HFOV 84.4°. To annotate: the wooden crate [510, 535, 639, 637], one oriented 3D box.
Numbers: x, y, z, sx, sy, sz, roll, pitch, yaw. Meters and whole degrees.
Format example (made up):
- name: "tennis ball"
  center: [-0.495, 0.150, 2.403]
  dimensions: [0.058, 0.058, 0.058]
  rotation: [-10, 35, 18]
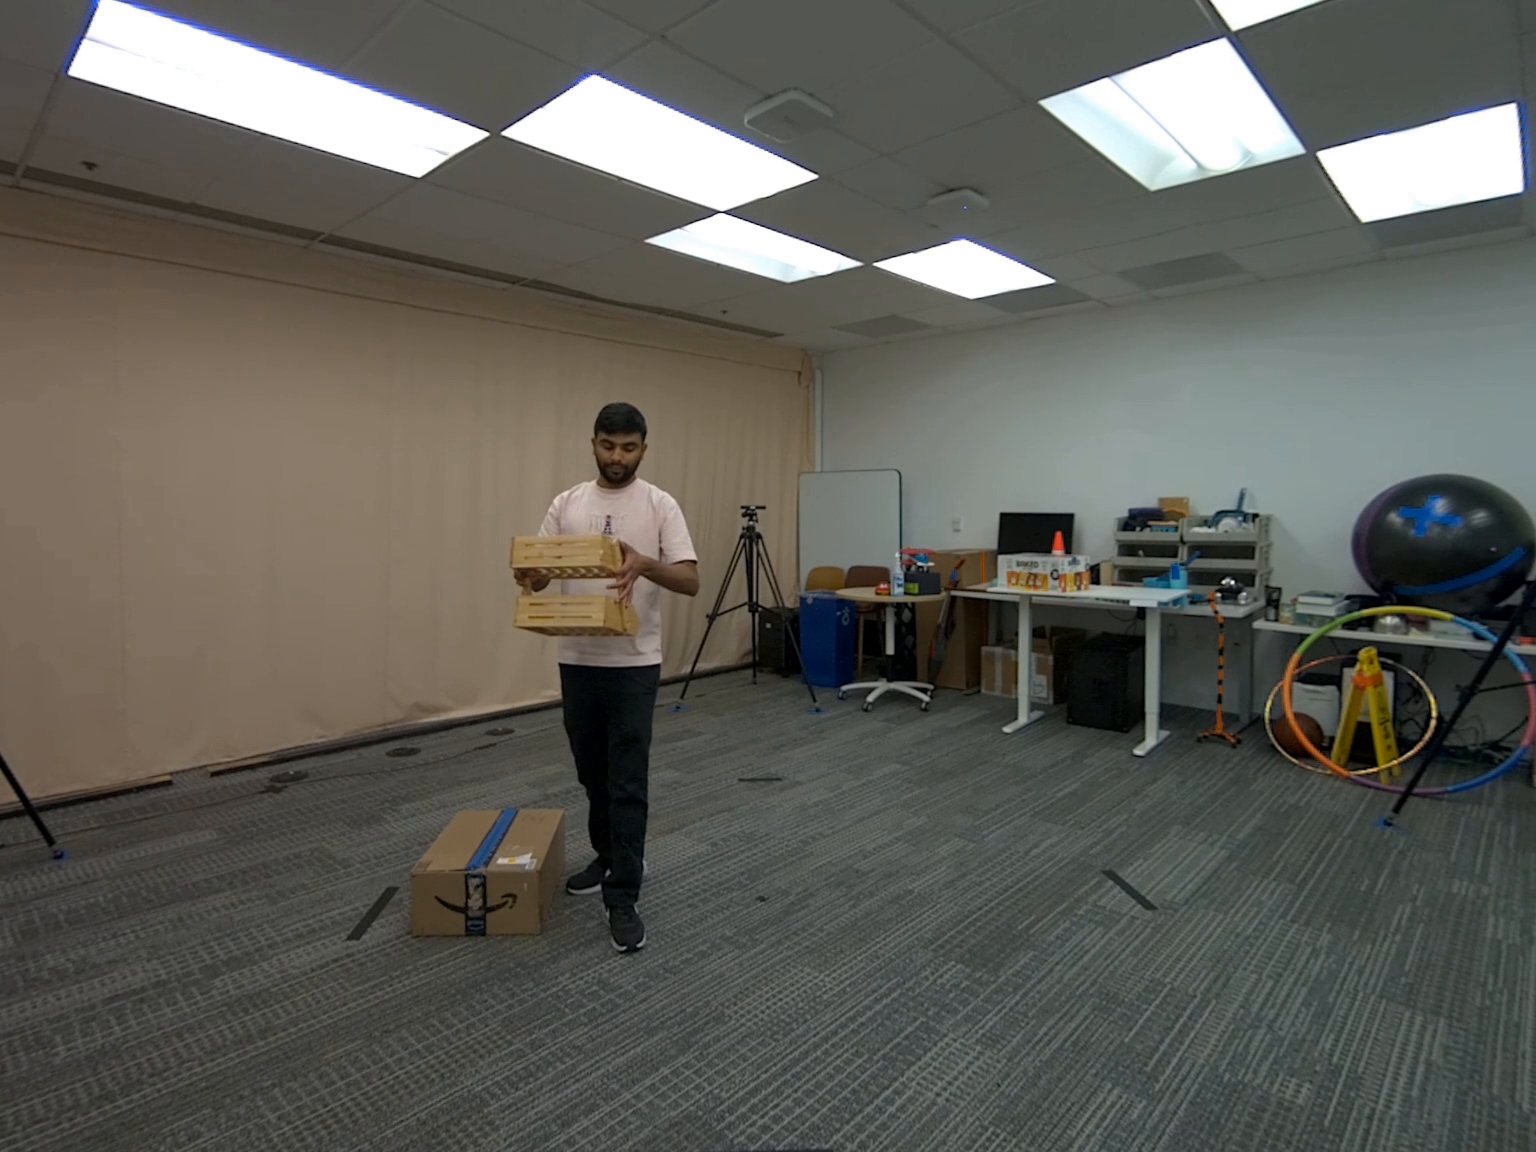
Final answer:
- name: "wooden crate"
  center: [-0.581, 0.032, 2.562]
  dimensions: [0.330, 0.275, 0.295]
  rotation: [0, -11, 16]
